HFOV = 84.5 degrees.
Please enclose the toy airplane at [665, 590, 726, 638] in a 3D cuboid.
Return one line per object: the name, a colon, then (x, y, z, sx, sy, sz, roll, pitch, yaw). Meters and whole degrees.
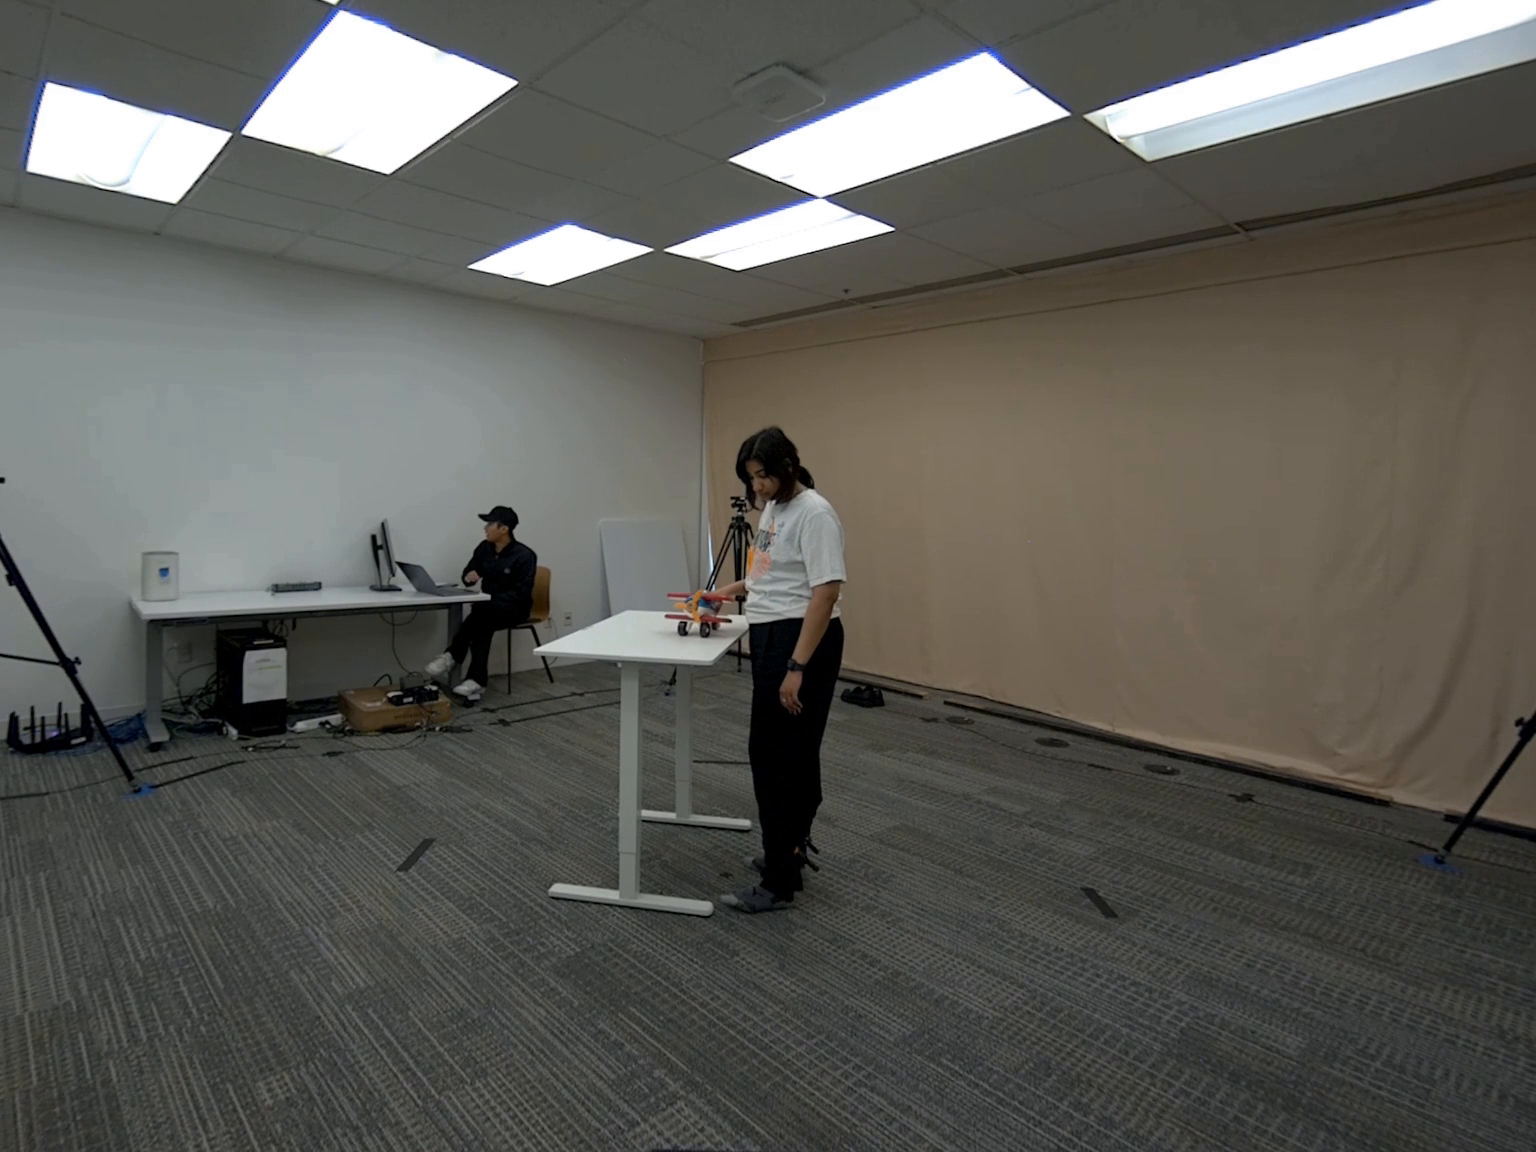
toy airplane: (-0.270, 0.137, 3.154, 0.249, 0.156, 0.262, 0, 5, -10)
